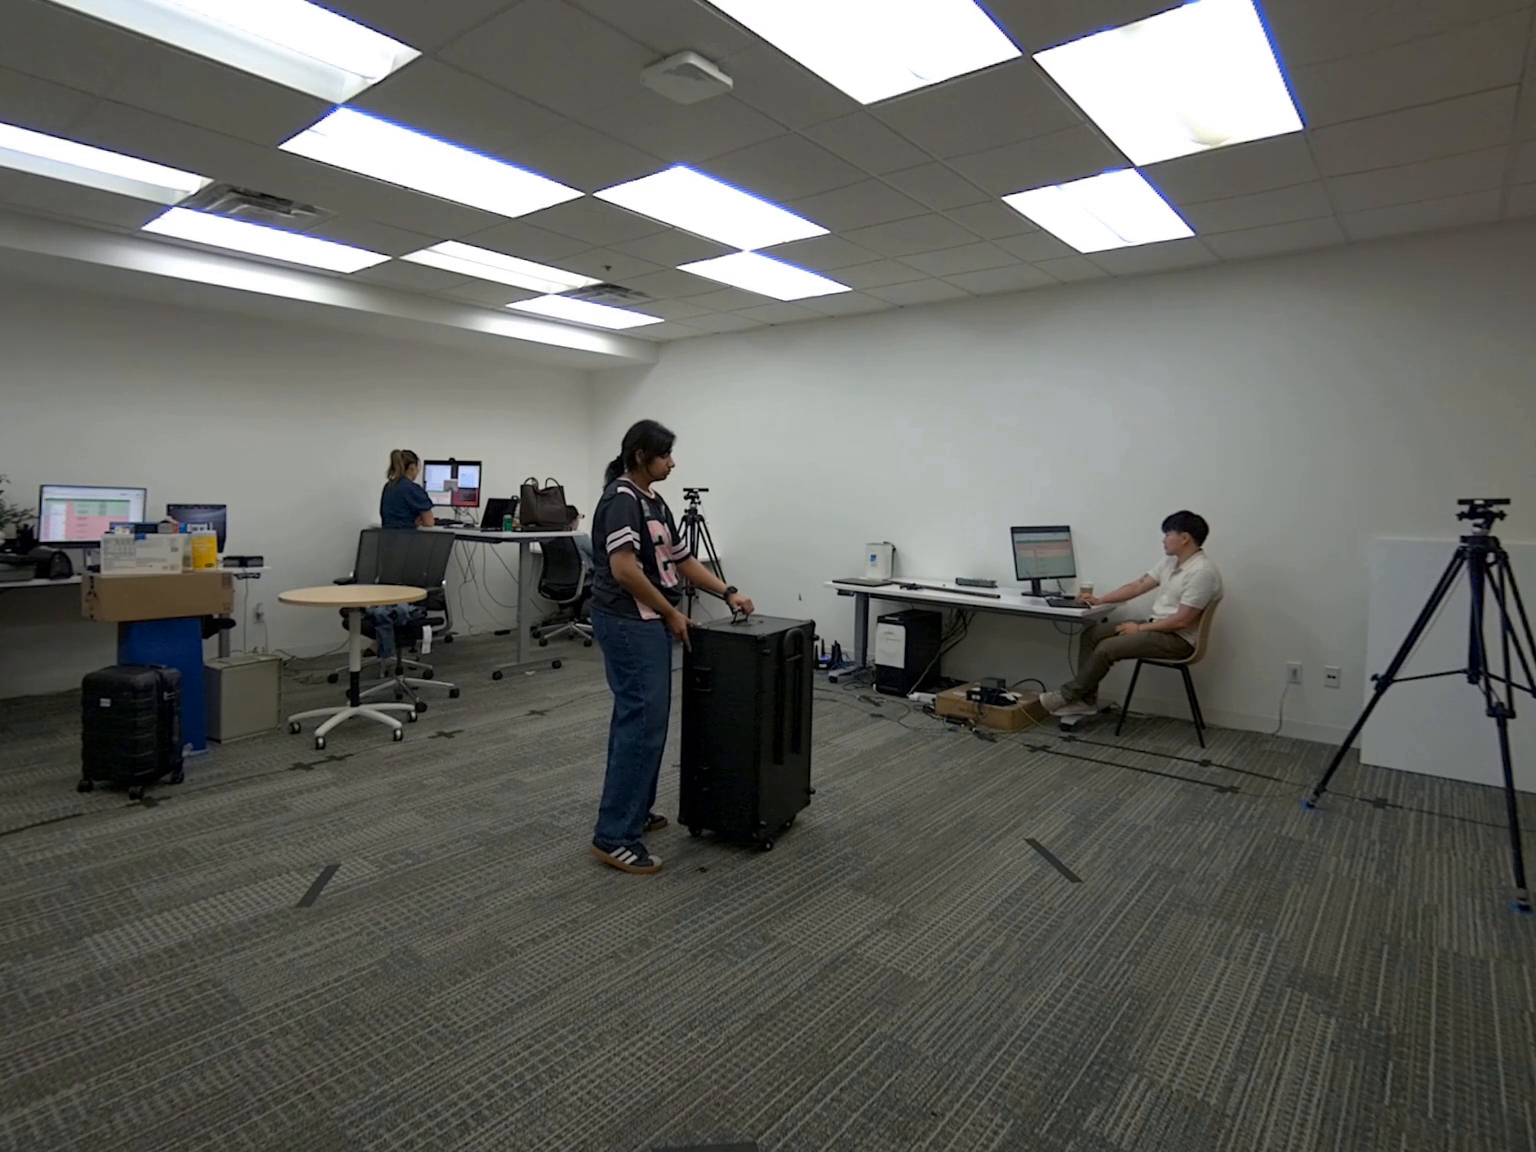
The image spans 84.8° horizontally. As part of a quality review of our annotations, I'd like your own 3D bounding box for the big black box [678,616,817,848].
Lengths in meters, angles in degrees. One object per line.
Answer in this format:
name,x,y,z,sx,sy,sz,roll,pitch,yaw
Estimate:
big black box,-0.078,0.617,3.459,0.396,0.866,0.511,3,4,27
